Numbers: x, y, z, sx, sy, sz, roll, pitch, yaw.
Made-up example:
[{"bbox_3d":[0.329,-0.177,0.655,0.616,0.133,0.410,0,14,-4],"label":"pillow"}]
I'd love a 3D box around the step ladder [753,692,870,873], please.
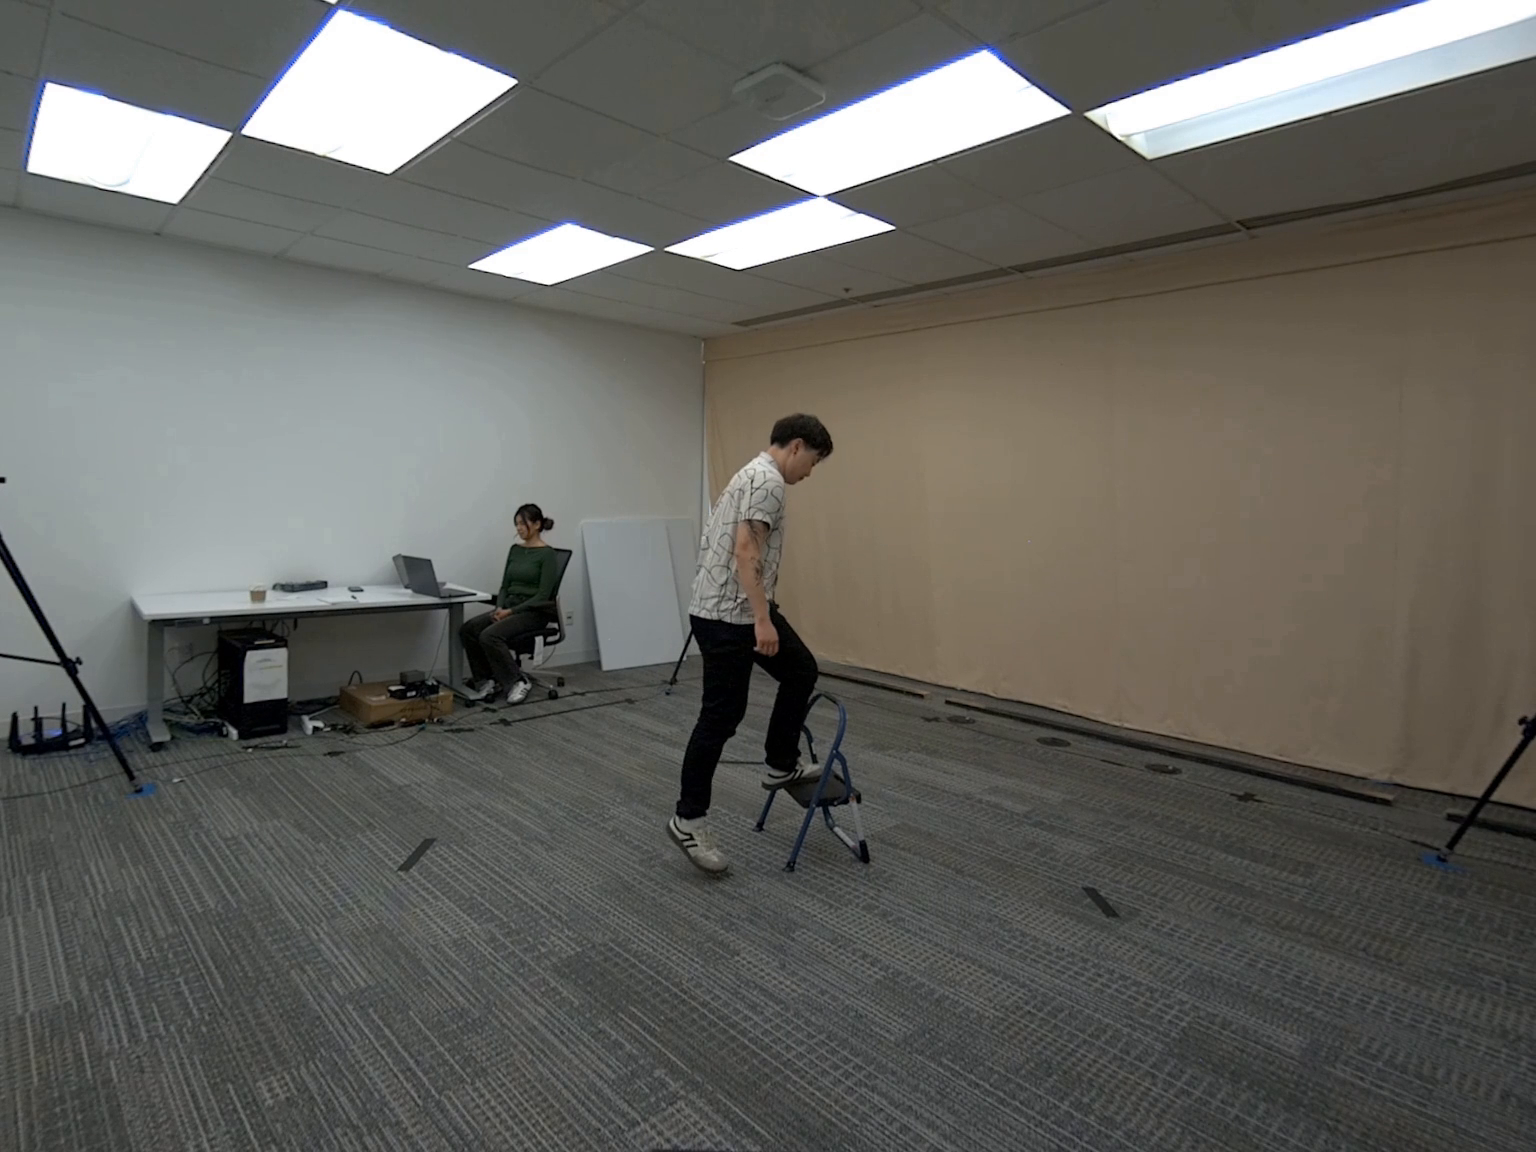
[{"bbox_3d":[0.170,0.784,3.366,0.345,0.605,0.437,1,4,-17],"label":"step ladder"}]
